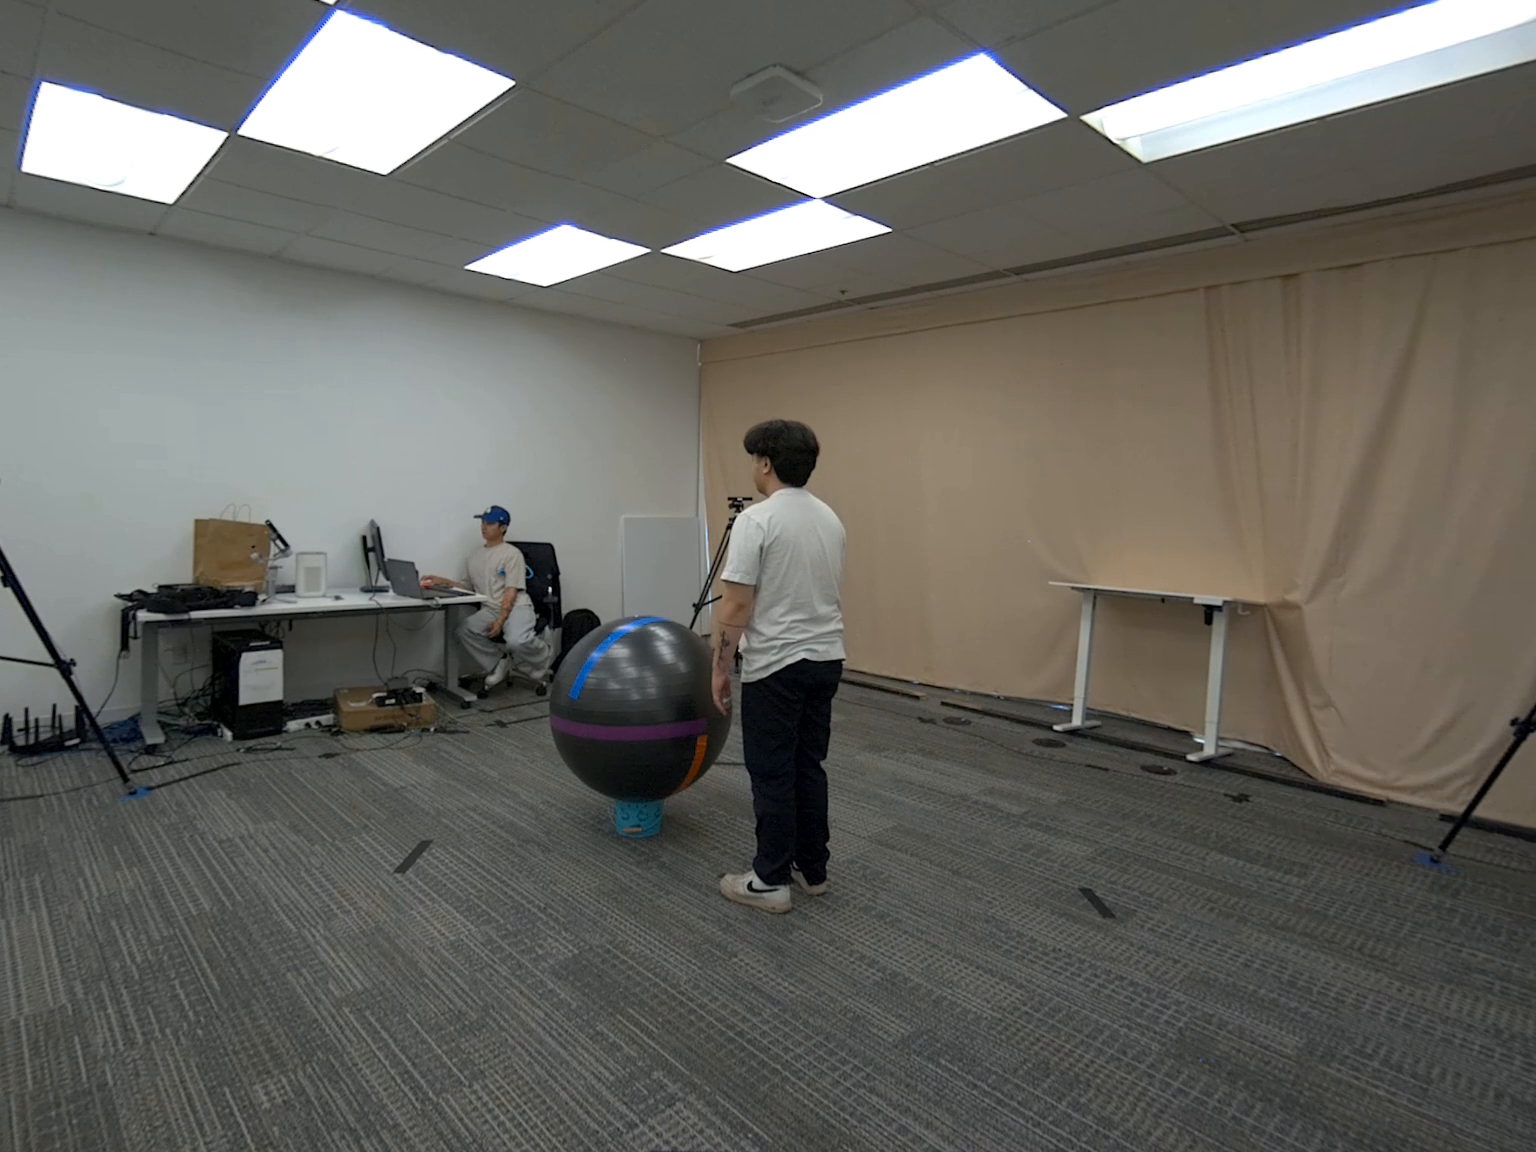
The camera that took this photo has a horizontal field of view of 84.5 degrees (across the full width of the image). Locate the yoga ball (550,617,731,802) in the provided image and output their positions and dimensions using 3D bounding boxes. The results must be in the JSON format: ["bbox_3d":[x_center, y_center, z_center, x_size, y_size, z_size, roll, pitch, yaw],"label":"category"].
[{"bbox_3d":[-0.534,0.550,3.512,0.757,0.756,0.761,1,4,-1],"label":"yoga ball"}]
